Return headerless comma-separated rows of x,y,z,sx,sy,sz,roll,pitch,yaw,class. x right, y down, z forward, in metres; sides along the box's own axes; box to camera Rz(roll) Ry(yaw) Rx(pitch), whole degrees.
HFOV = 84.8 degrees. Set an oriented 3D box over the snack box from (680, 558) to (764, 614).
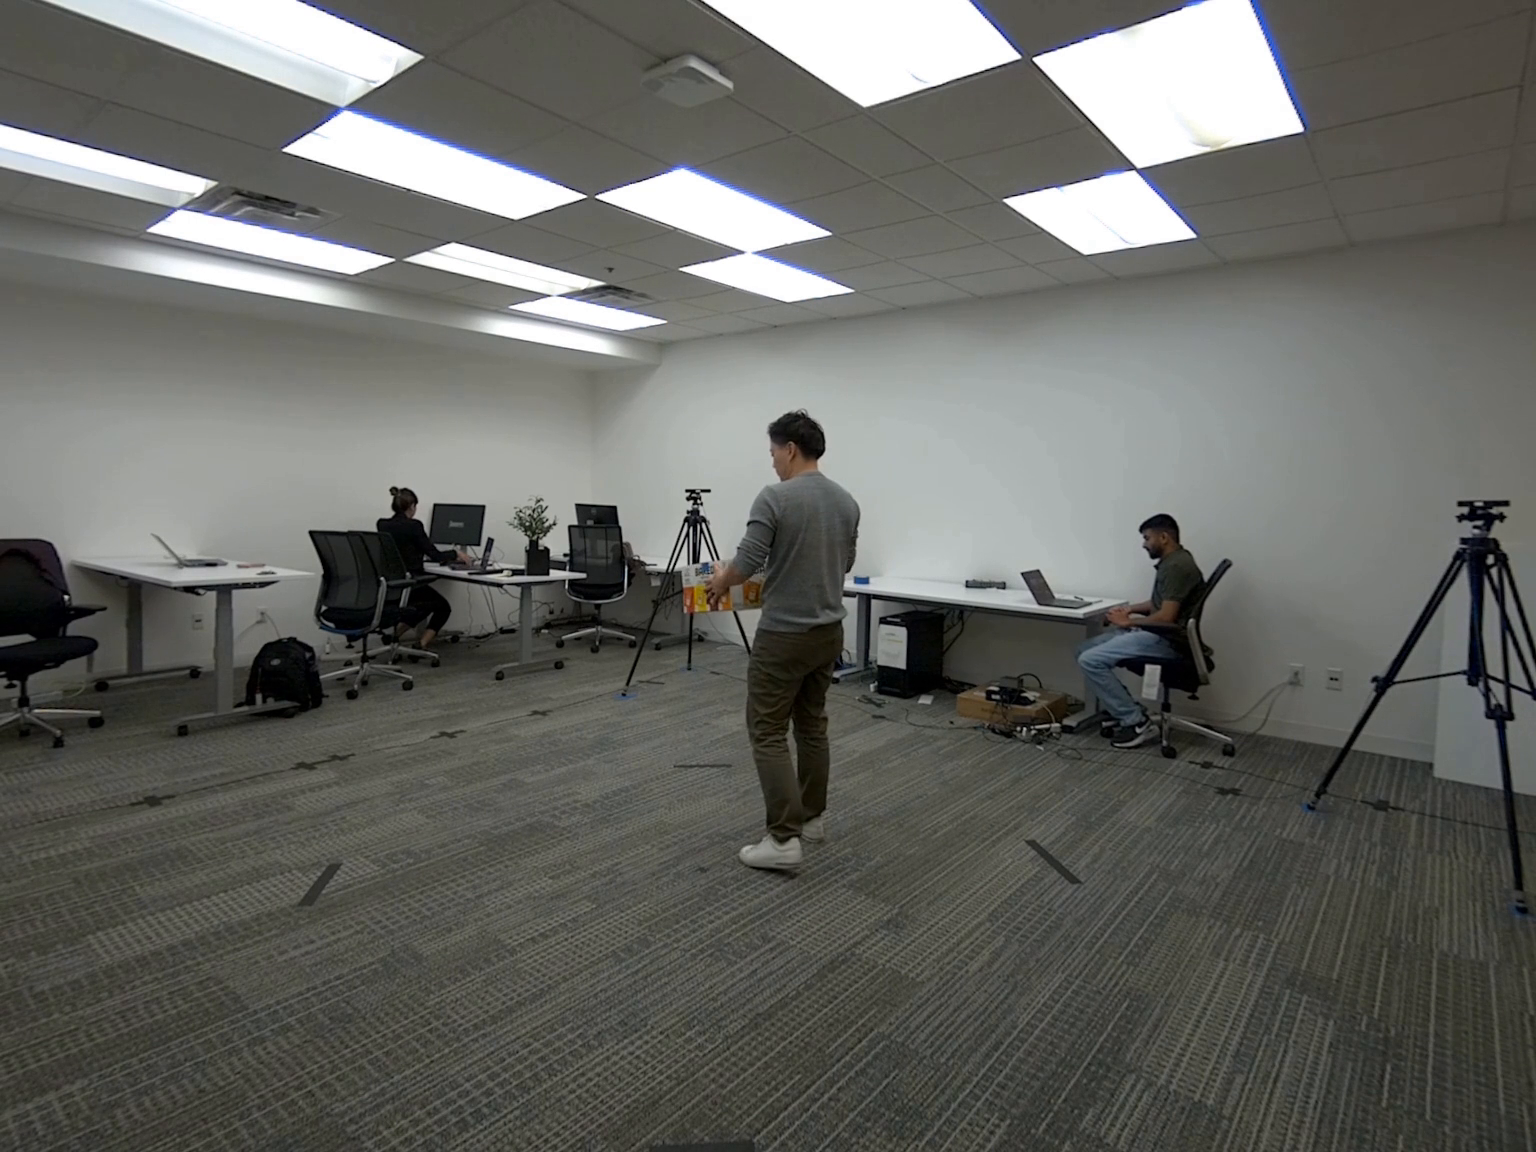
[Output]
-0.110,0.040,3.599,0.393,0.207,0.349,-1,-4,-38,snack box
